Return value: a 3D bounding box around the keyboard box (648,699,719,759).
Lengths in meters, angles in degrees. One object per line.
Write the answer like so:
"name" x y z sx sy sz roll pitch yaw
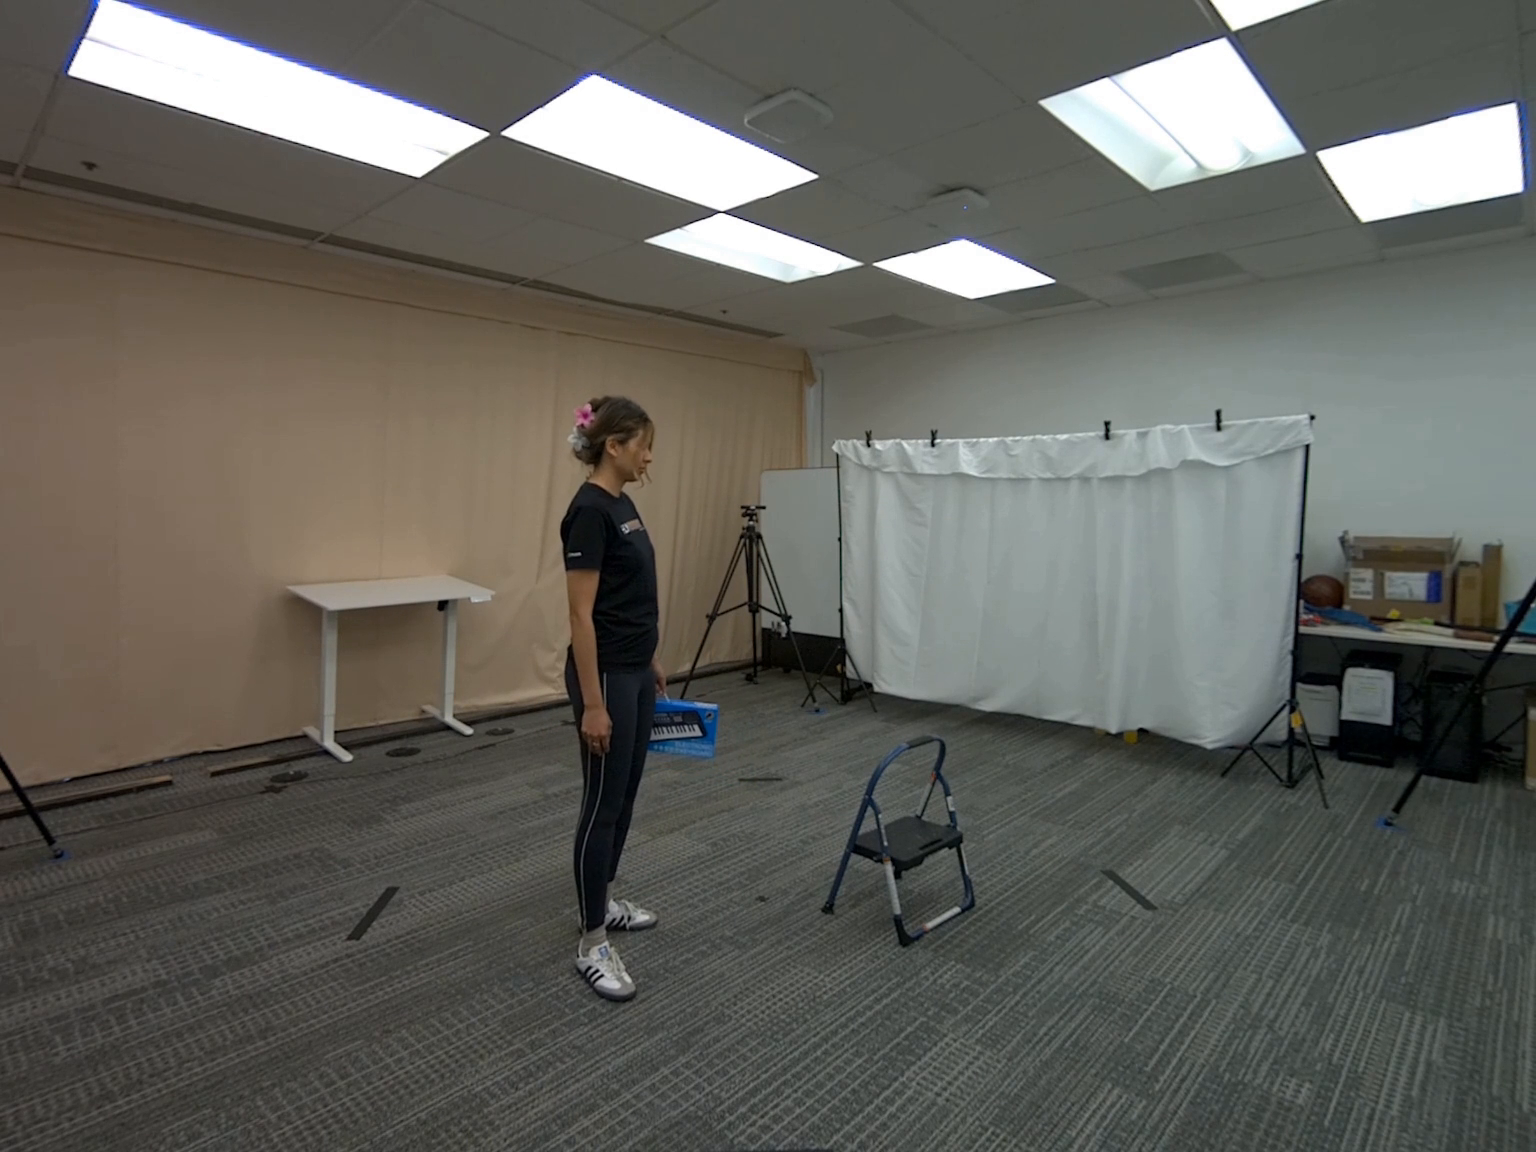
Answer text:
"keyboard box" -0.395 0.509 2.901 0.439 0.175 0.059 6 4 4
